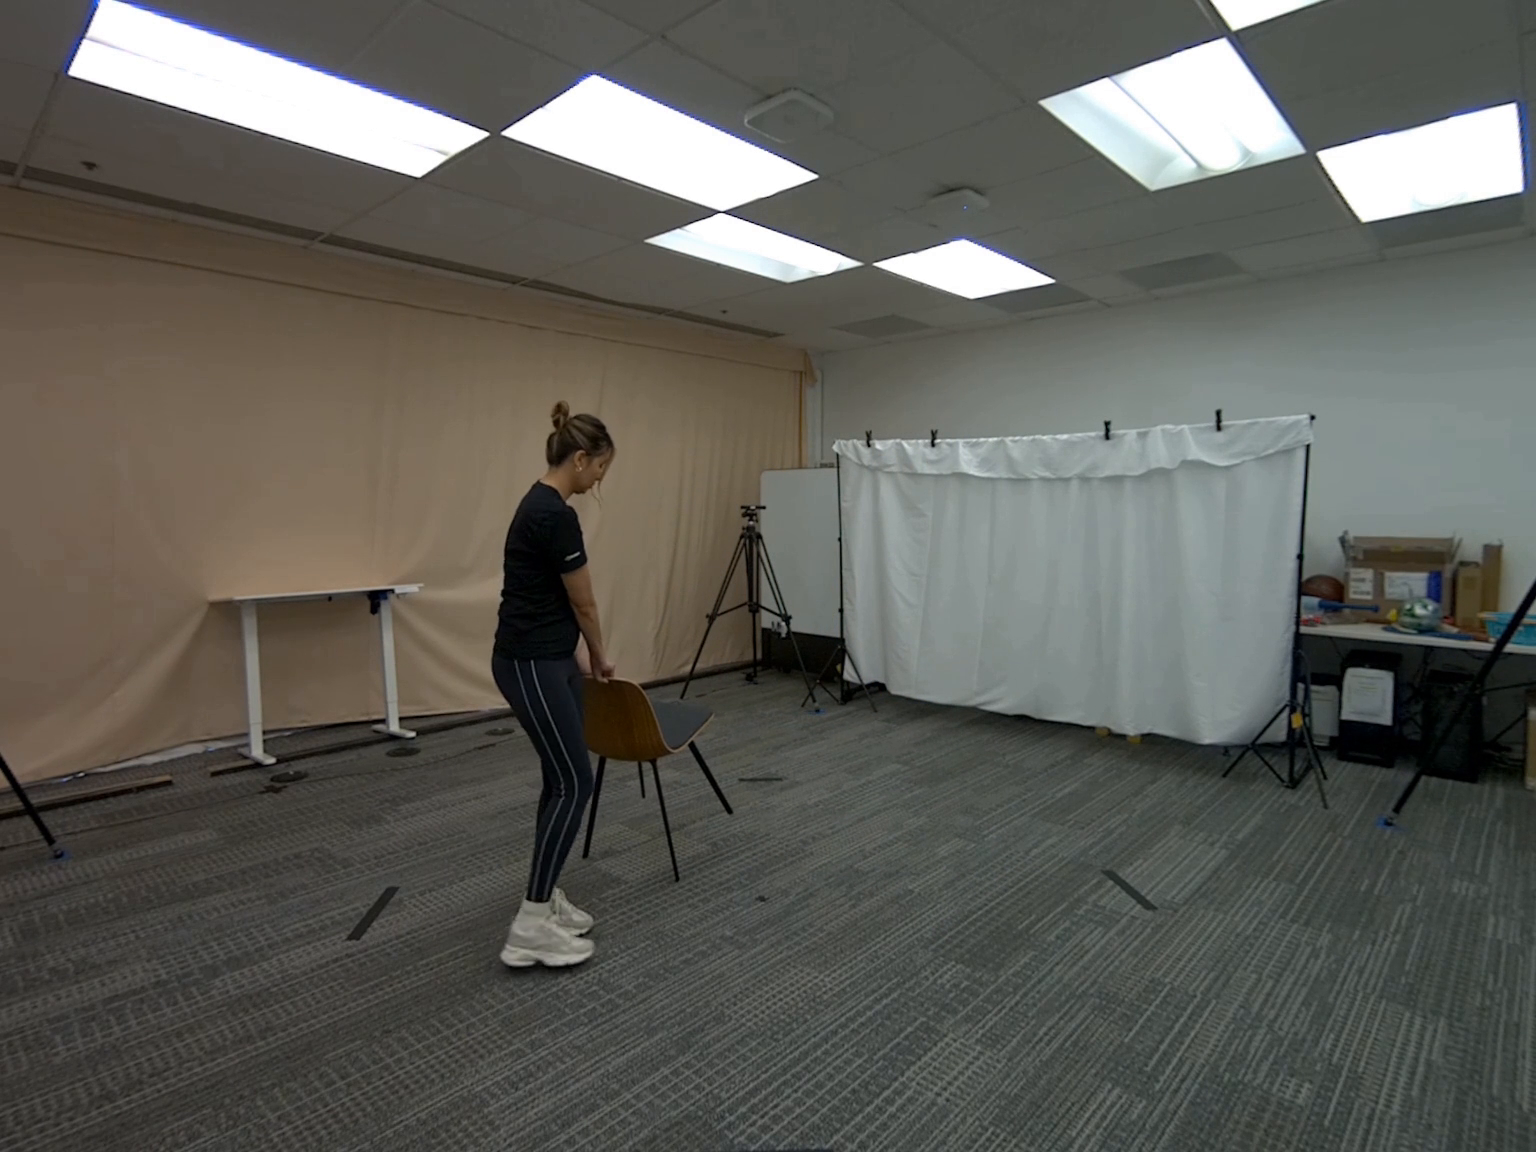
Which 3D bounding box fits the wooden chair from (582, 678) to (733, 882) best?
[{"bbox_3d":[-0.488,0.650,3.306,0.491,0.864,0.517,1,23,28],"label":"wooden chair"}]
